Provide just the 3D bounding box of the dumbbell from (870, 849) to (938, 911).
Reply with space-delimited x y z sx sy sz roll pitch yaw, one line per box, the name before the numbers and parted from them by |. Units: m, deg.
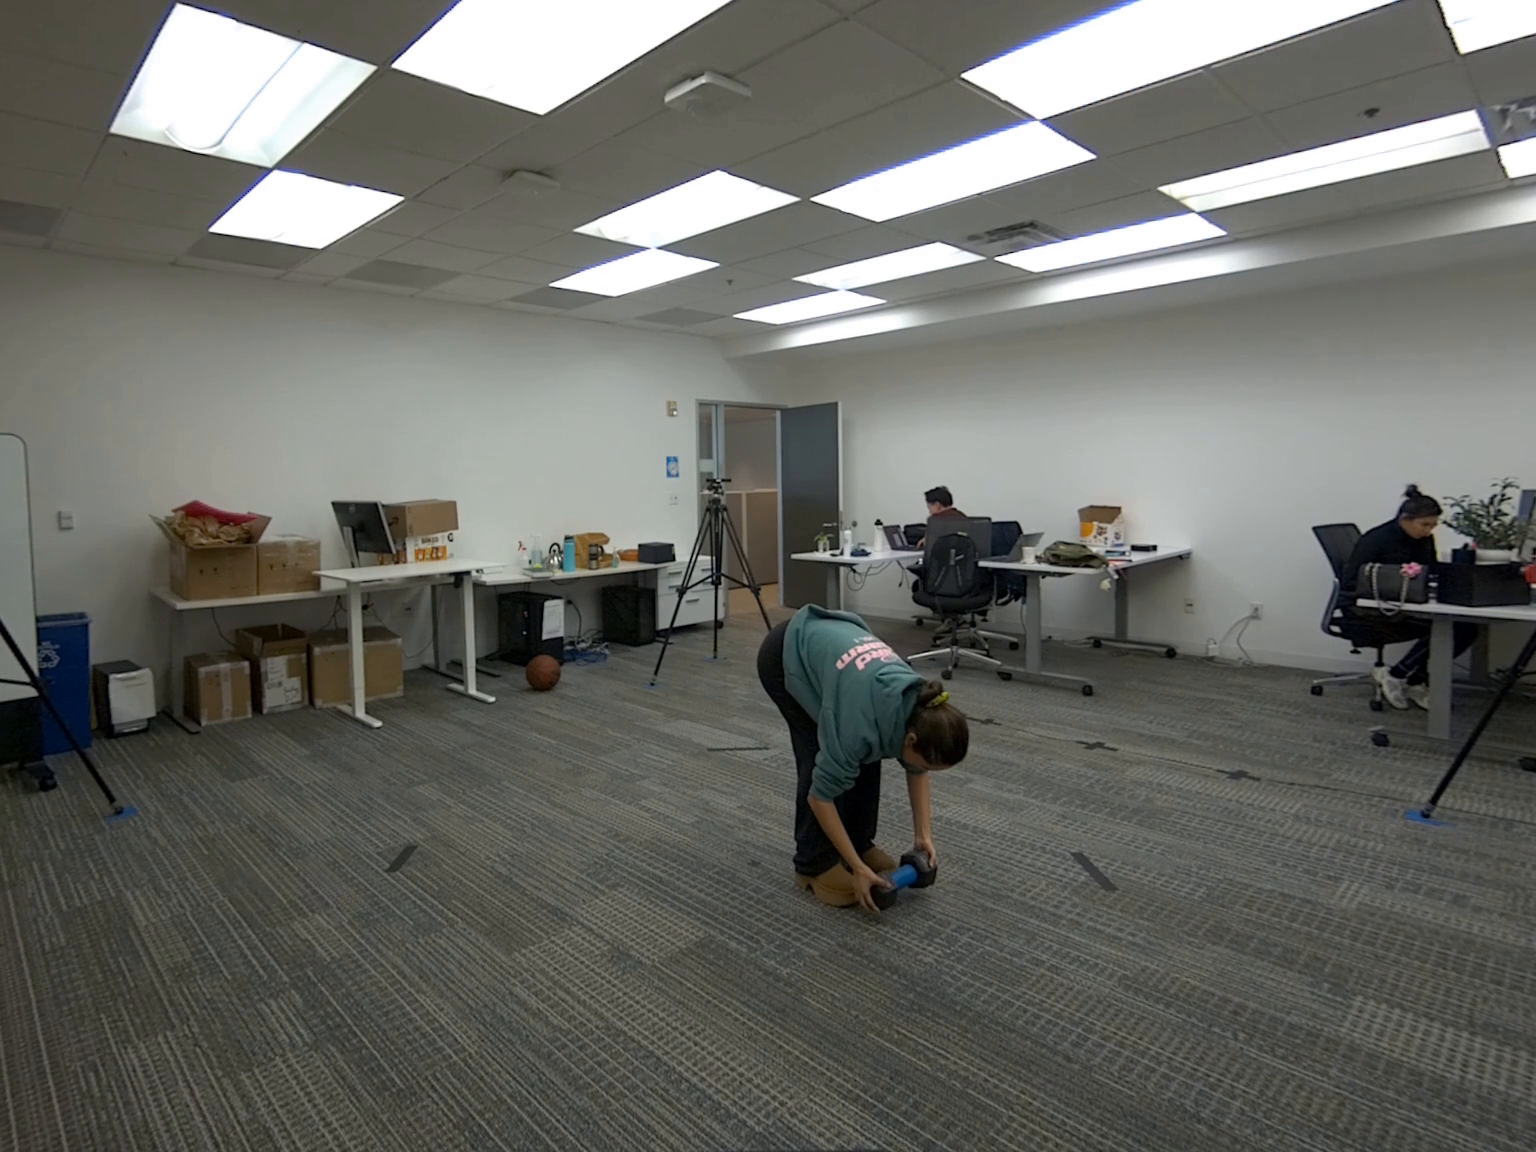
dumbbell | 0.426 0.979 2.765 0.286 0.121 0.113 -7 19 -42
